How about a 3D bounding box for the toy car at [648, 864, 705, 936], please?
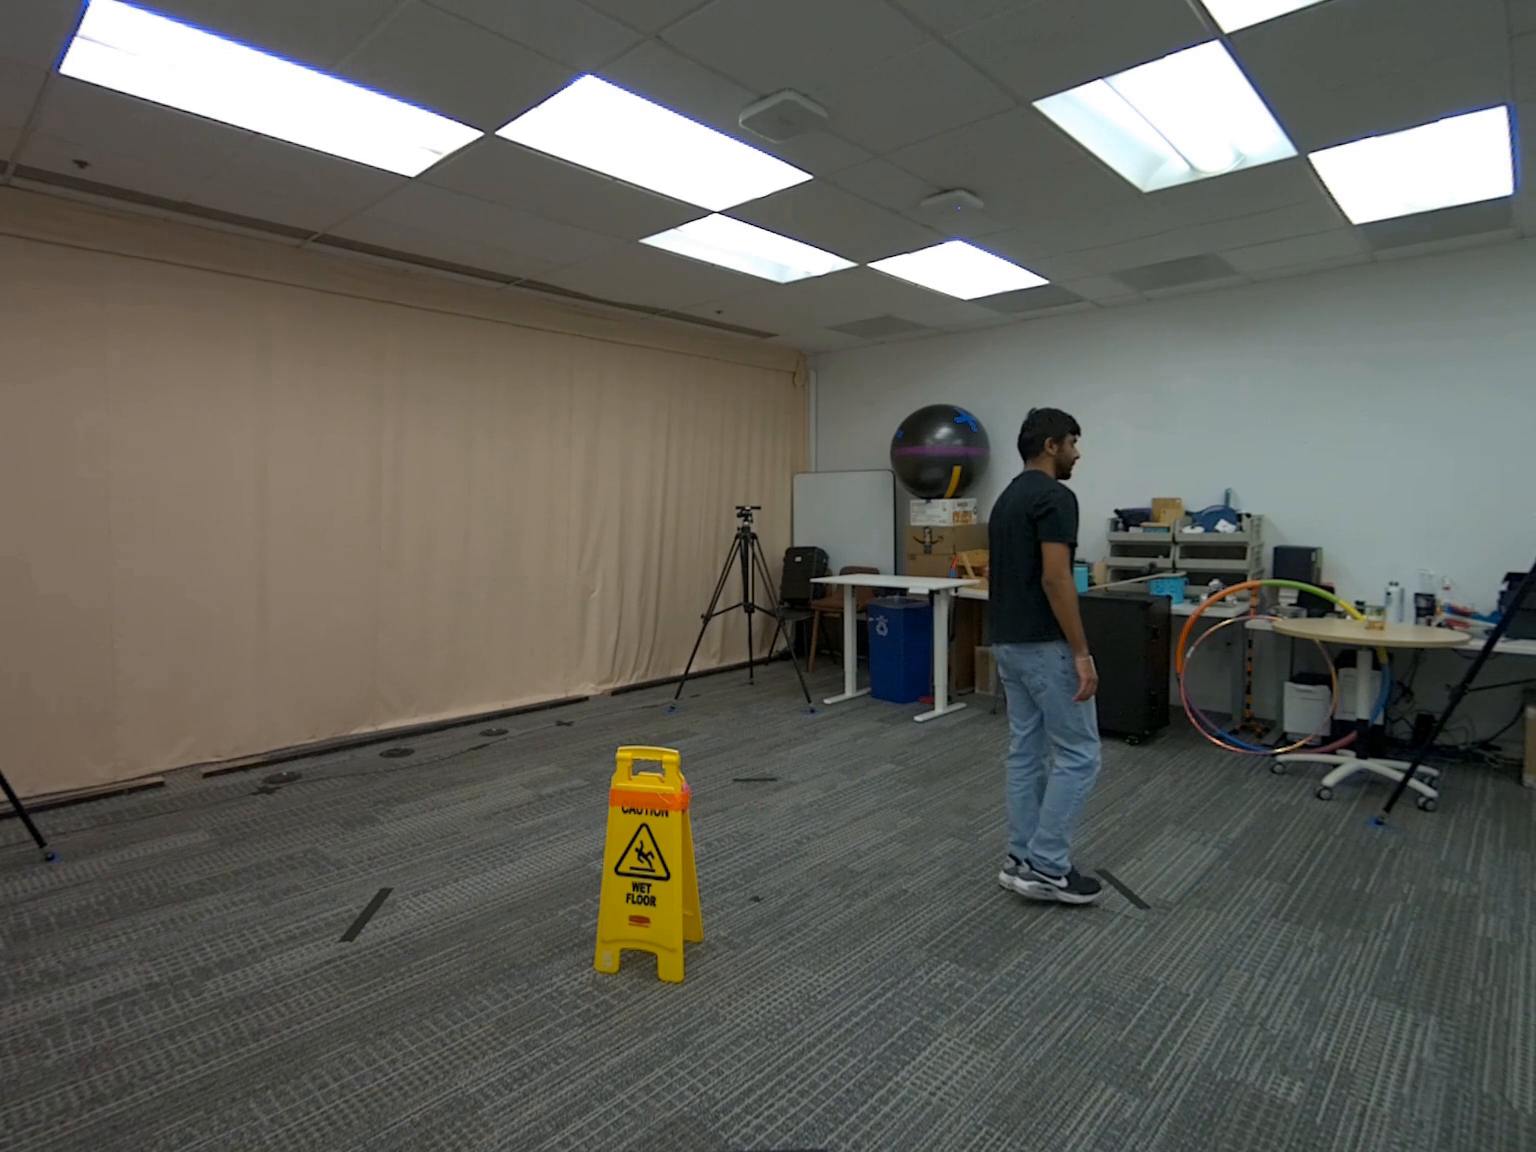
[{"bbox_3d":[-0.317,1.123,2.951,0.132,0.082,0.254,0,16,9],"label":"toy car"}]
